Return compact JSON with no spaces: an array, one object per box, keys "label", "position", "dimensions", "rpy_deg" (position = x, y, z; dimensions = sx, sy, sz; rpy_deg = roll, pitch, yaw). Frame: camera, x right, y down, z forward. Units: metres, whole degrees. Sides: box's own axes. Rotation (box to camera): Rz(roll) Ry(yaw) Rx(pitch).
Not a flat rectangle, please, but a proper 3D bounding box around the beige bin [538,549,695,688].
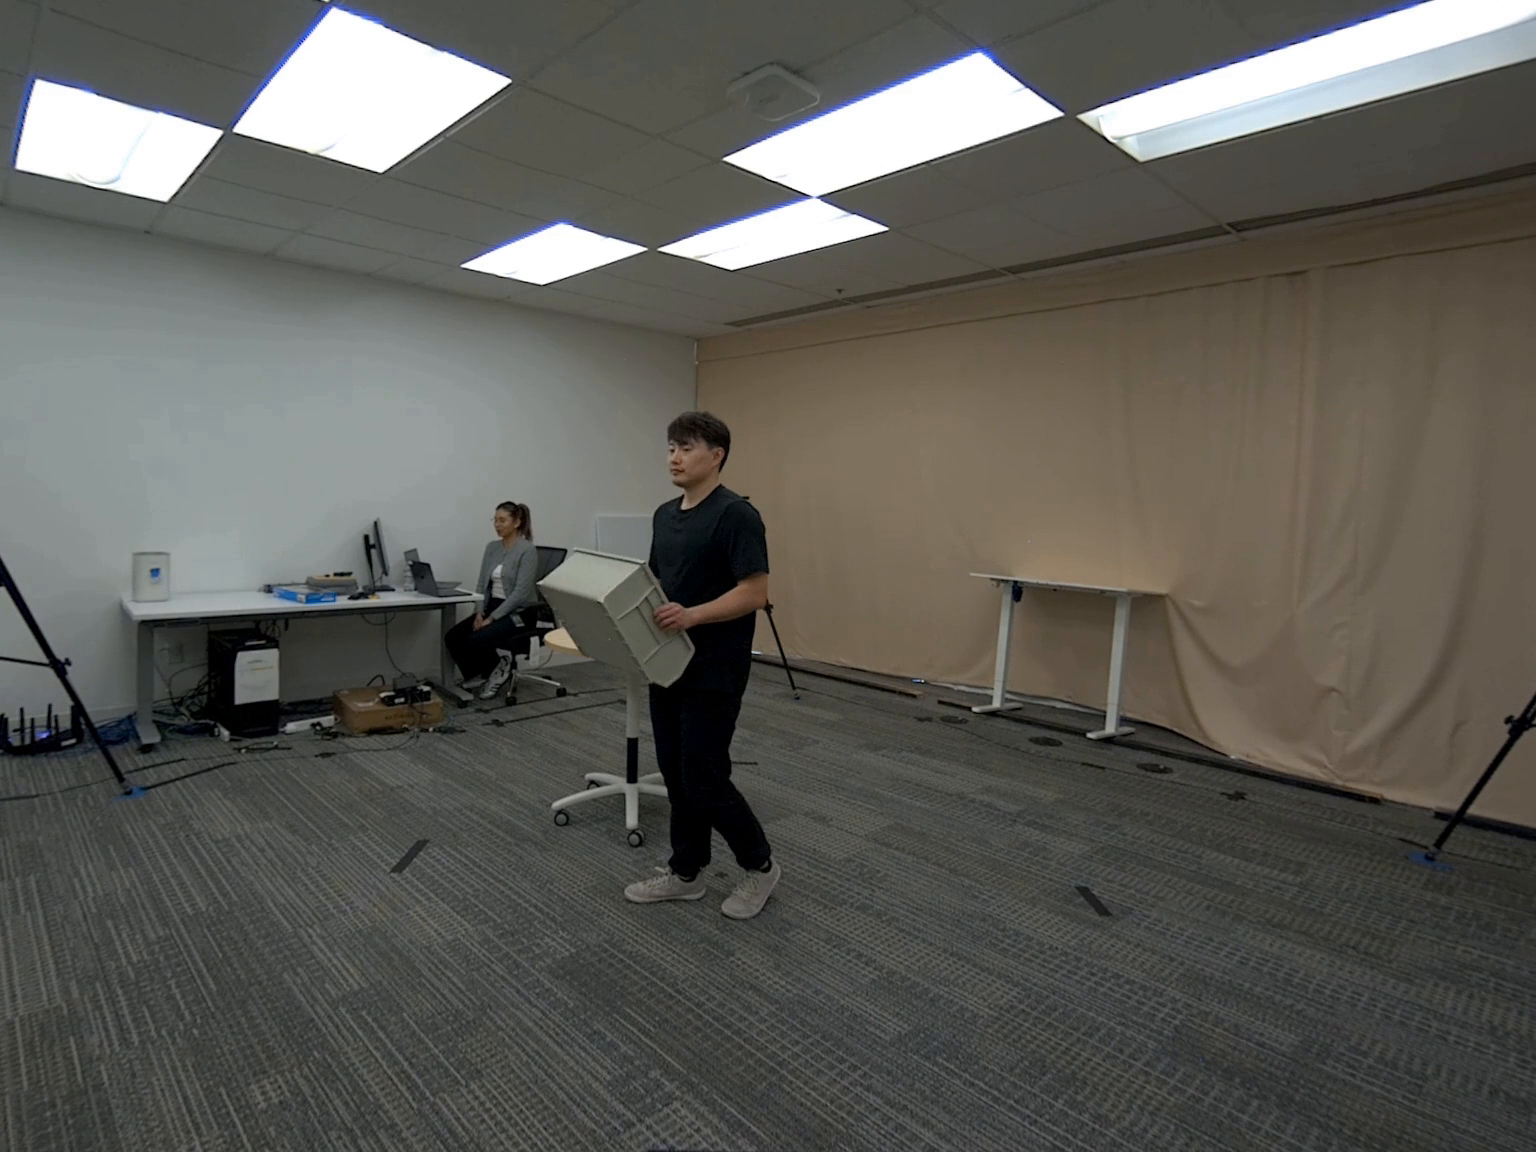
[{"label":"beige bin","position":[-0.480,0.138,2.631],"dimensions":[0.188,0.368,0.434],"rpy_deg":[-42,30,-25]}]
